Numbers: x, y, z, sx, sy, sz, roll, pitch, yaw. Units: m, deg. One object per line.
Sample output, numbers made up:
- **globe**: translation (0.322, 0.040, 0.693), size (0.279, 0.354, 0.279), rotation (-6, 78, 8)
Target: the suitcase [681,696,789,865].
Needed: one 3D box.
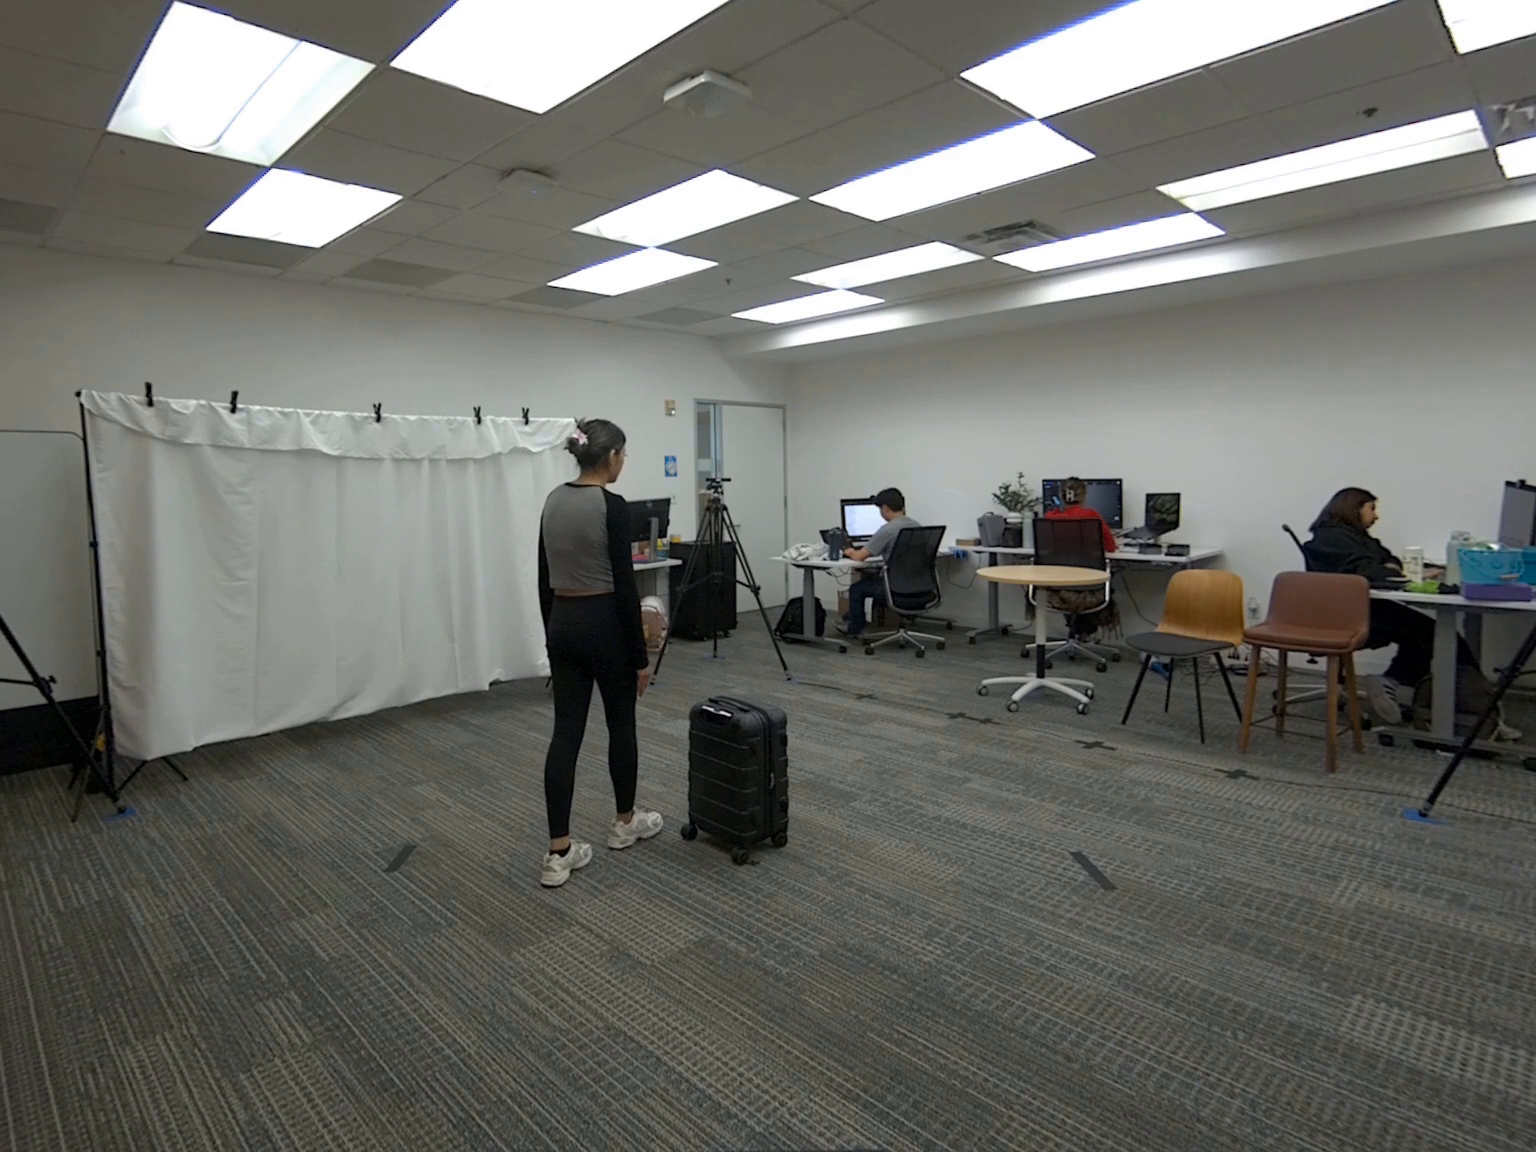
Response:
- **suitcase**: translation (-0.117, 0.750, 3.288), size (0.241, 0.548, 0.387), rotation (0, 3, -44)
